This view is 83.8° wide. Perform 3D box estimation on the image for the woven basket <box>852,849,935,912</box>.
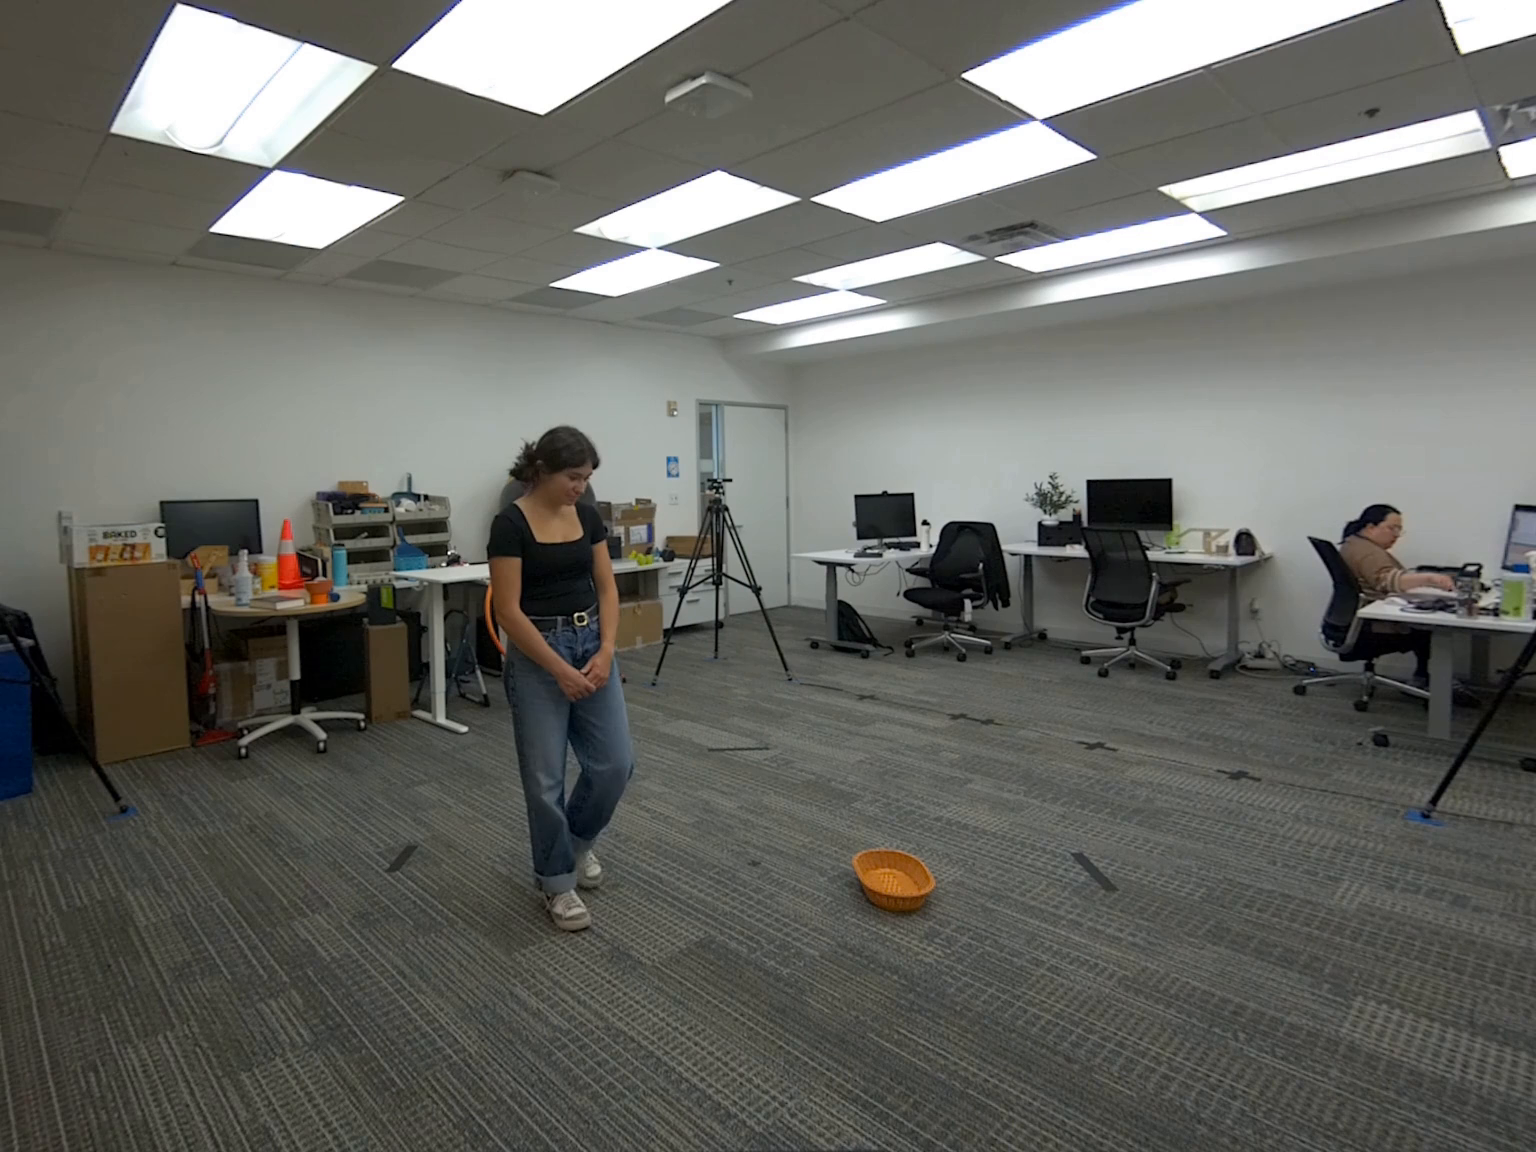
[{"bbox_3d":[0.423,1.025,2.879,0.252,0.073,0.353,0,6,-4],"label":"woven basket"}]
